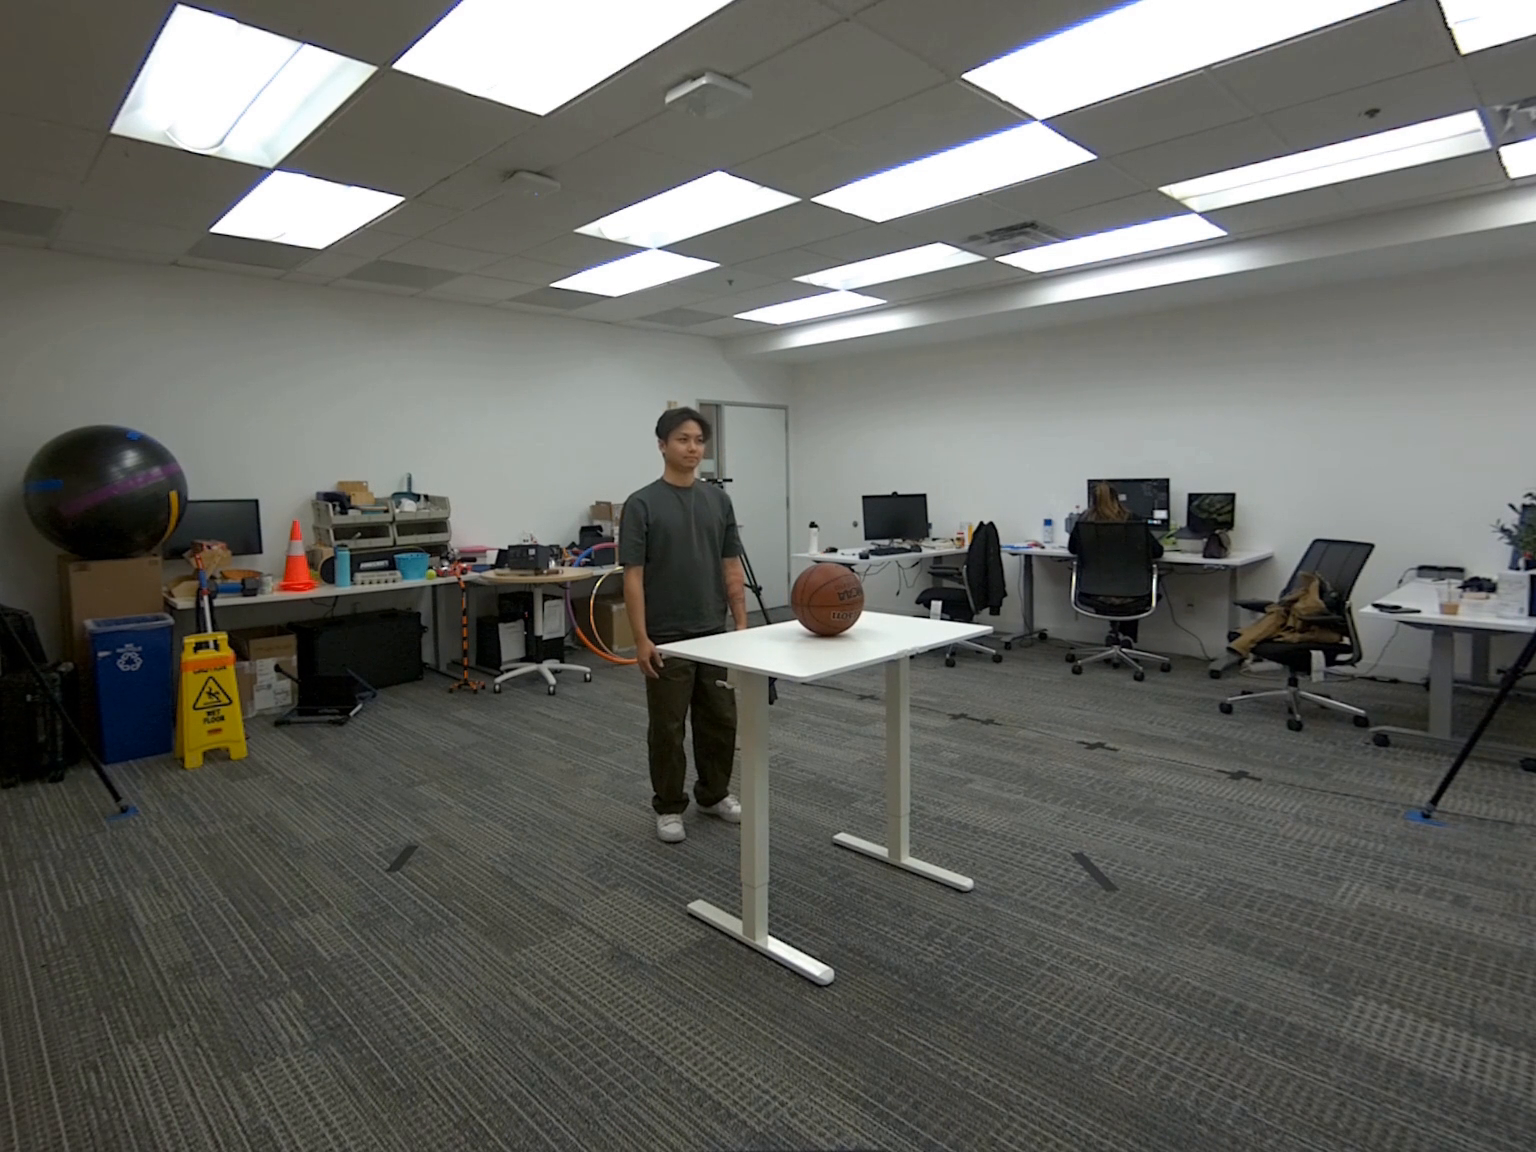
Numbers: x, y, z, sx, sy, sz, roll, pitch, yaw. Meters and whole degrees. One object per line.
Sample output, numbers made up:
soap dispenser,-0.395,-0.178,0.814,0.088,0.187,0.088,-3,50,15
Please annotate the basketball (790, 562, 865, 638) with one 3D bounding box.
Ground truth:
basketball,0.197,0.077,2.795,0.236,0.235,0.237,-1,5,-2
